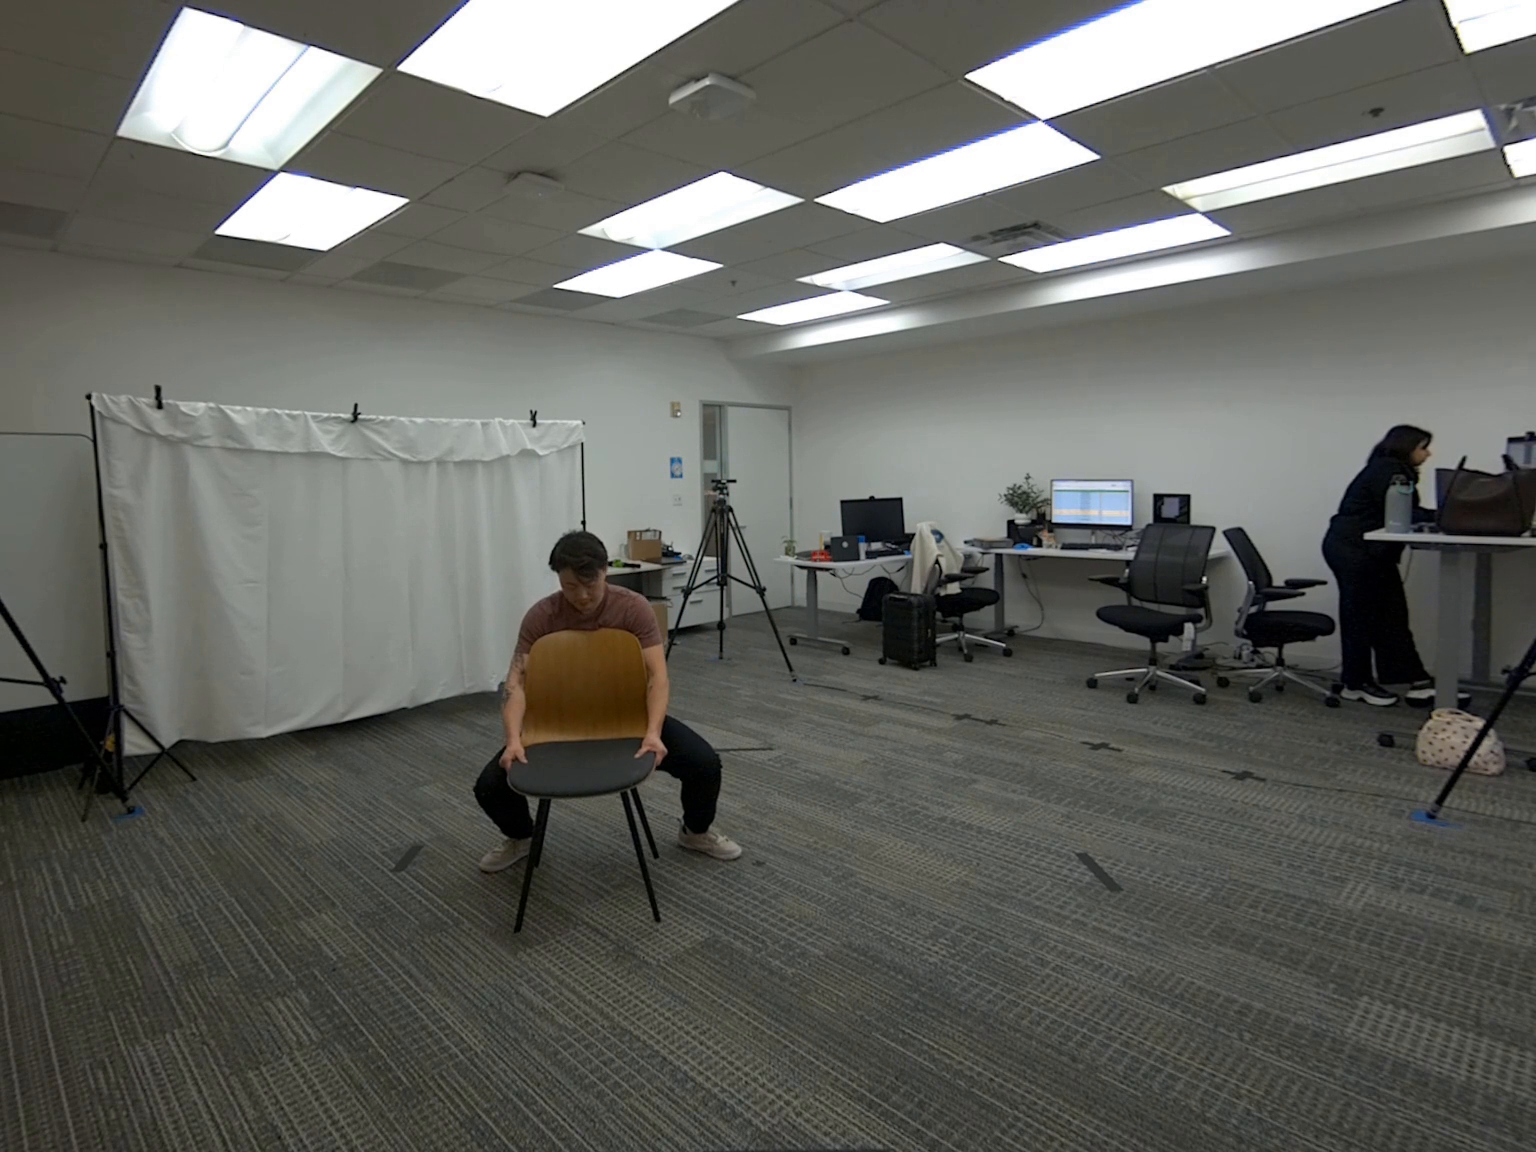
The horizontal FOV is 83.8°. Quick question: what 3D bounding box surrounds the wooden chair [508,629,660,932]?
[{"bbox_3d":[-0.590,0.640,2.807,0.475,0.877,0.526,-3,1,-6],"label":"wooden chair"}]
